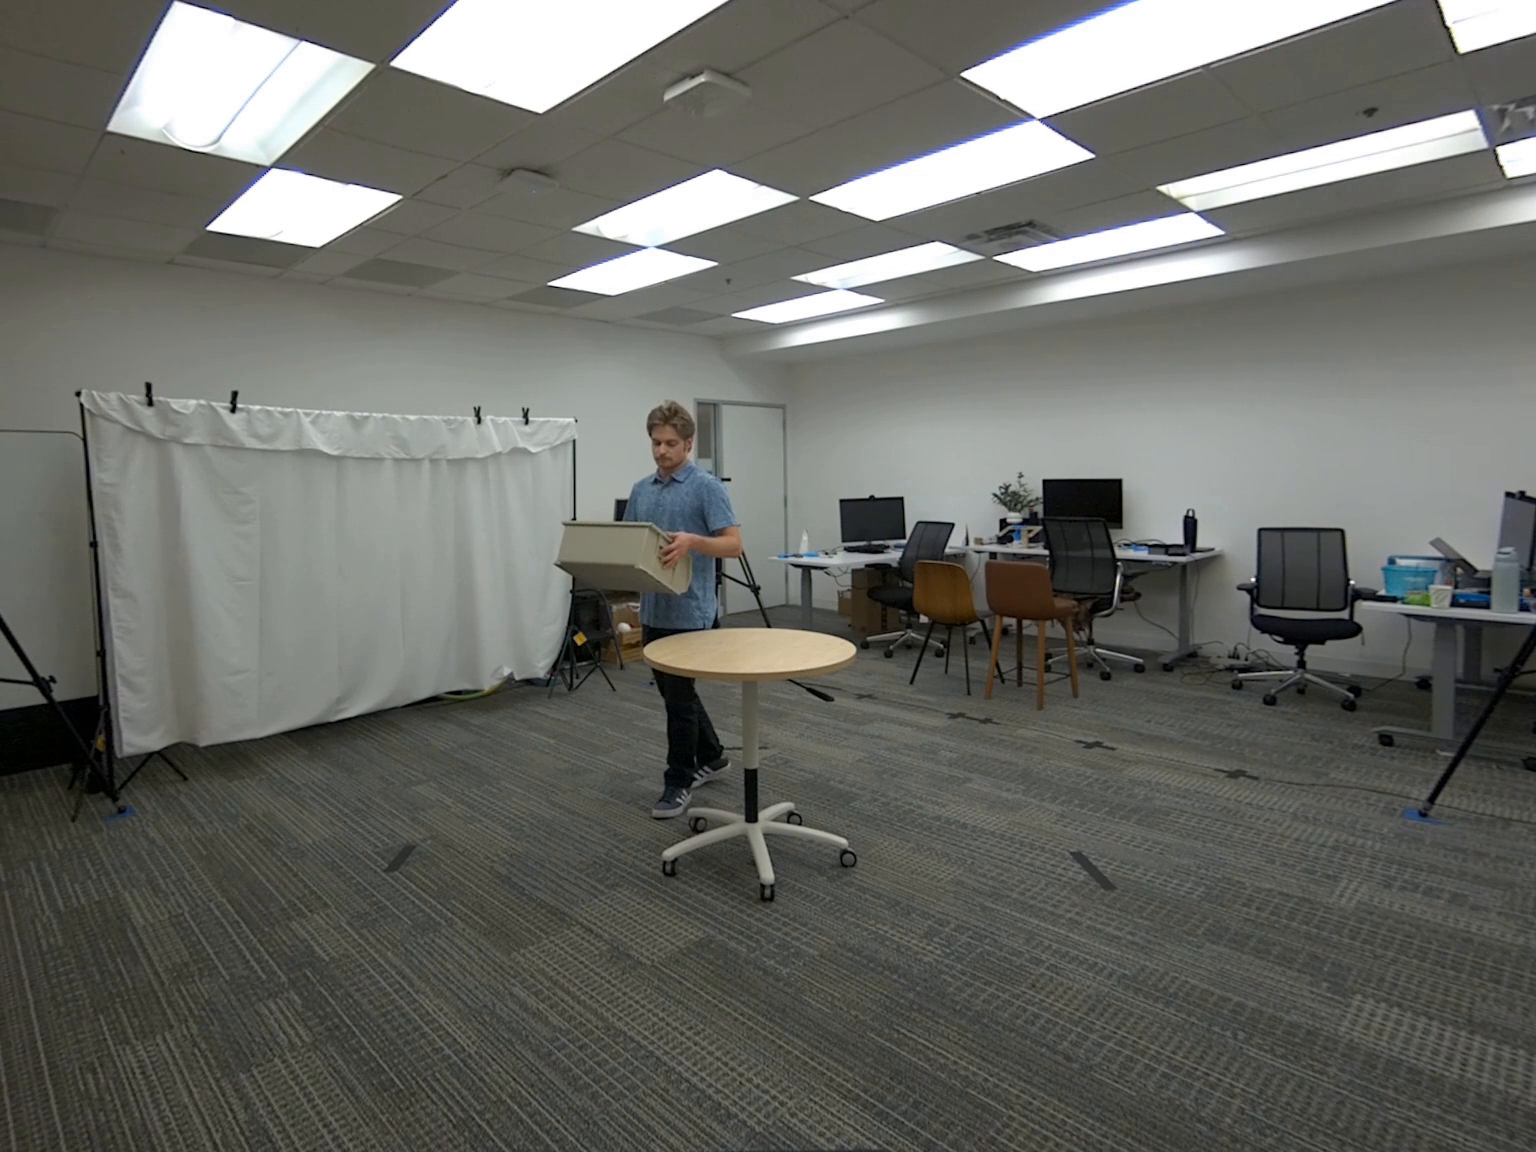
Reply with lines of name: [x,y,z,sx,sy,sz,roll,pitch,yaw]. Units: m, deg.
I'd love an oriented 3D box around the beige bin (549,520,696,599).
beige bin: [-0.571,-0.059,3.414,0.433,0.191,0.364,4,-18,26]
